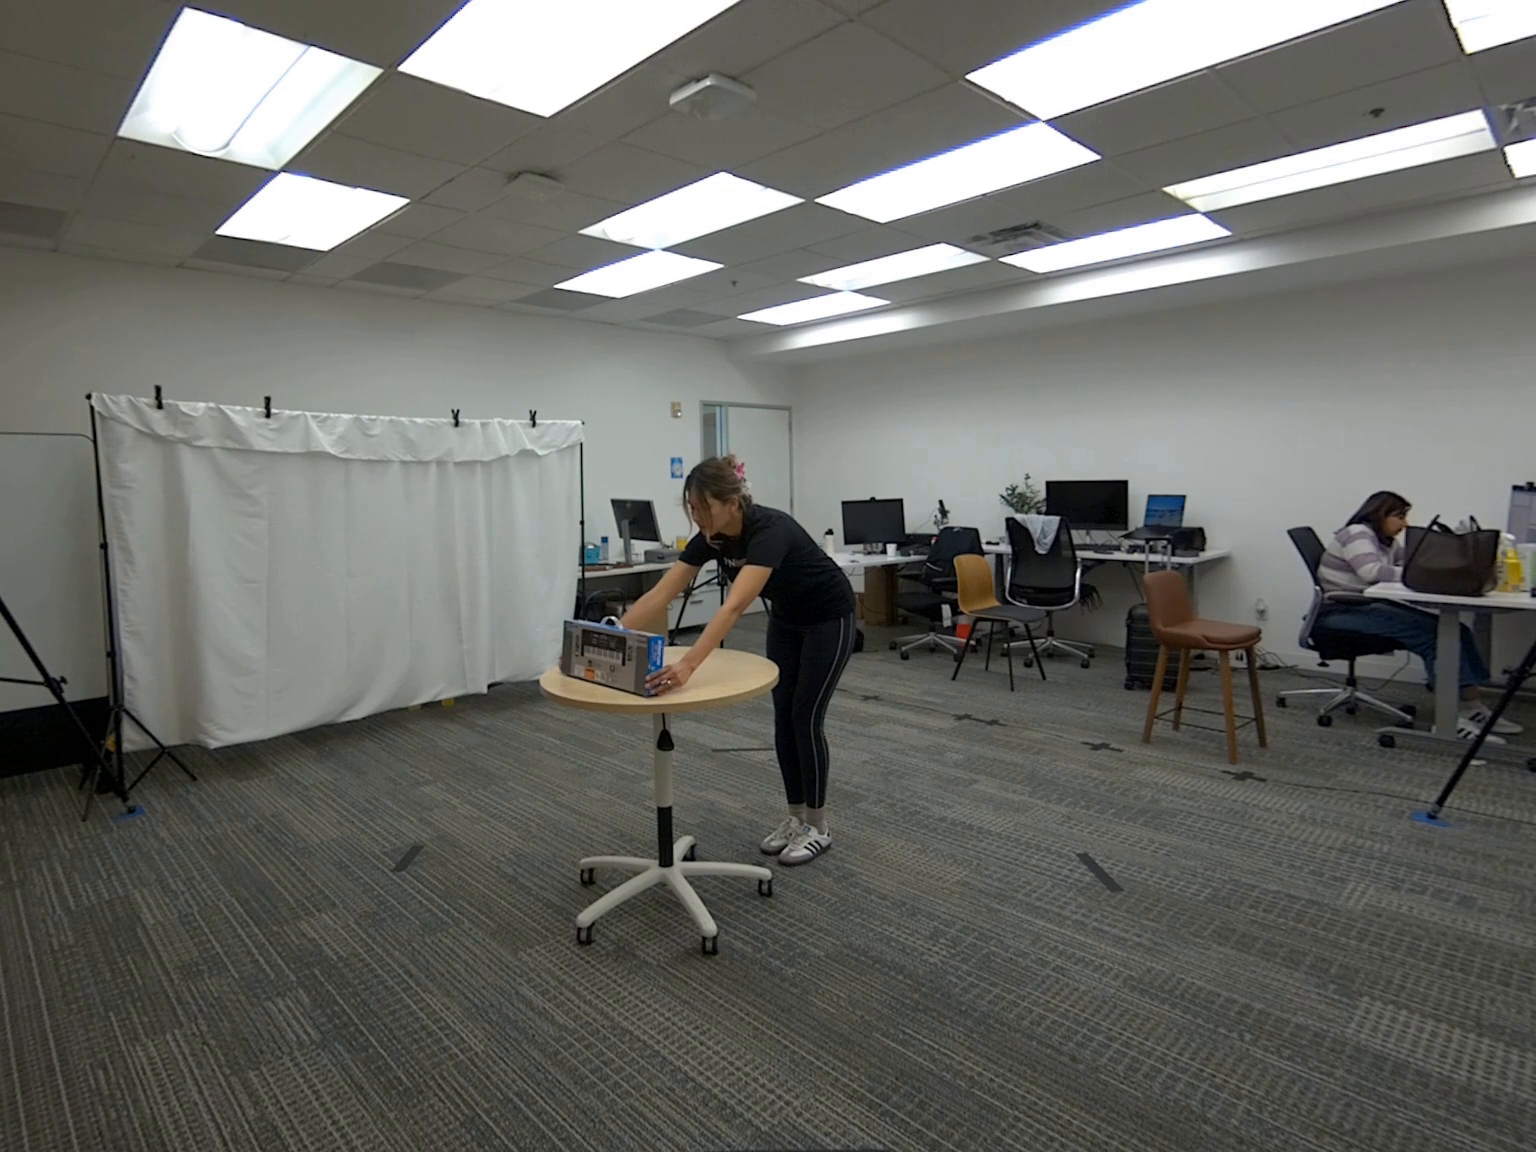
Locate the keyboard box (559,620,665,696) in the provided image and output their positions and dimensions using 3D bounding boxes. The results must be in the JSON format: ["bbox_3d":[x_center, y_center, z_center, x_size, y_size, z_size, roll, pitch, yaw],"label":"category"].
[{"bbox_3d":[-0.483,0.245,2.615,0.450,0.176,0.057,5,0,44],"label":"keyboard box"}]
